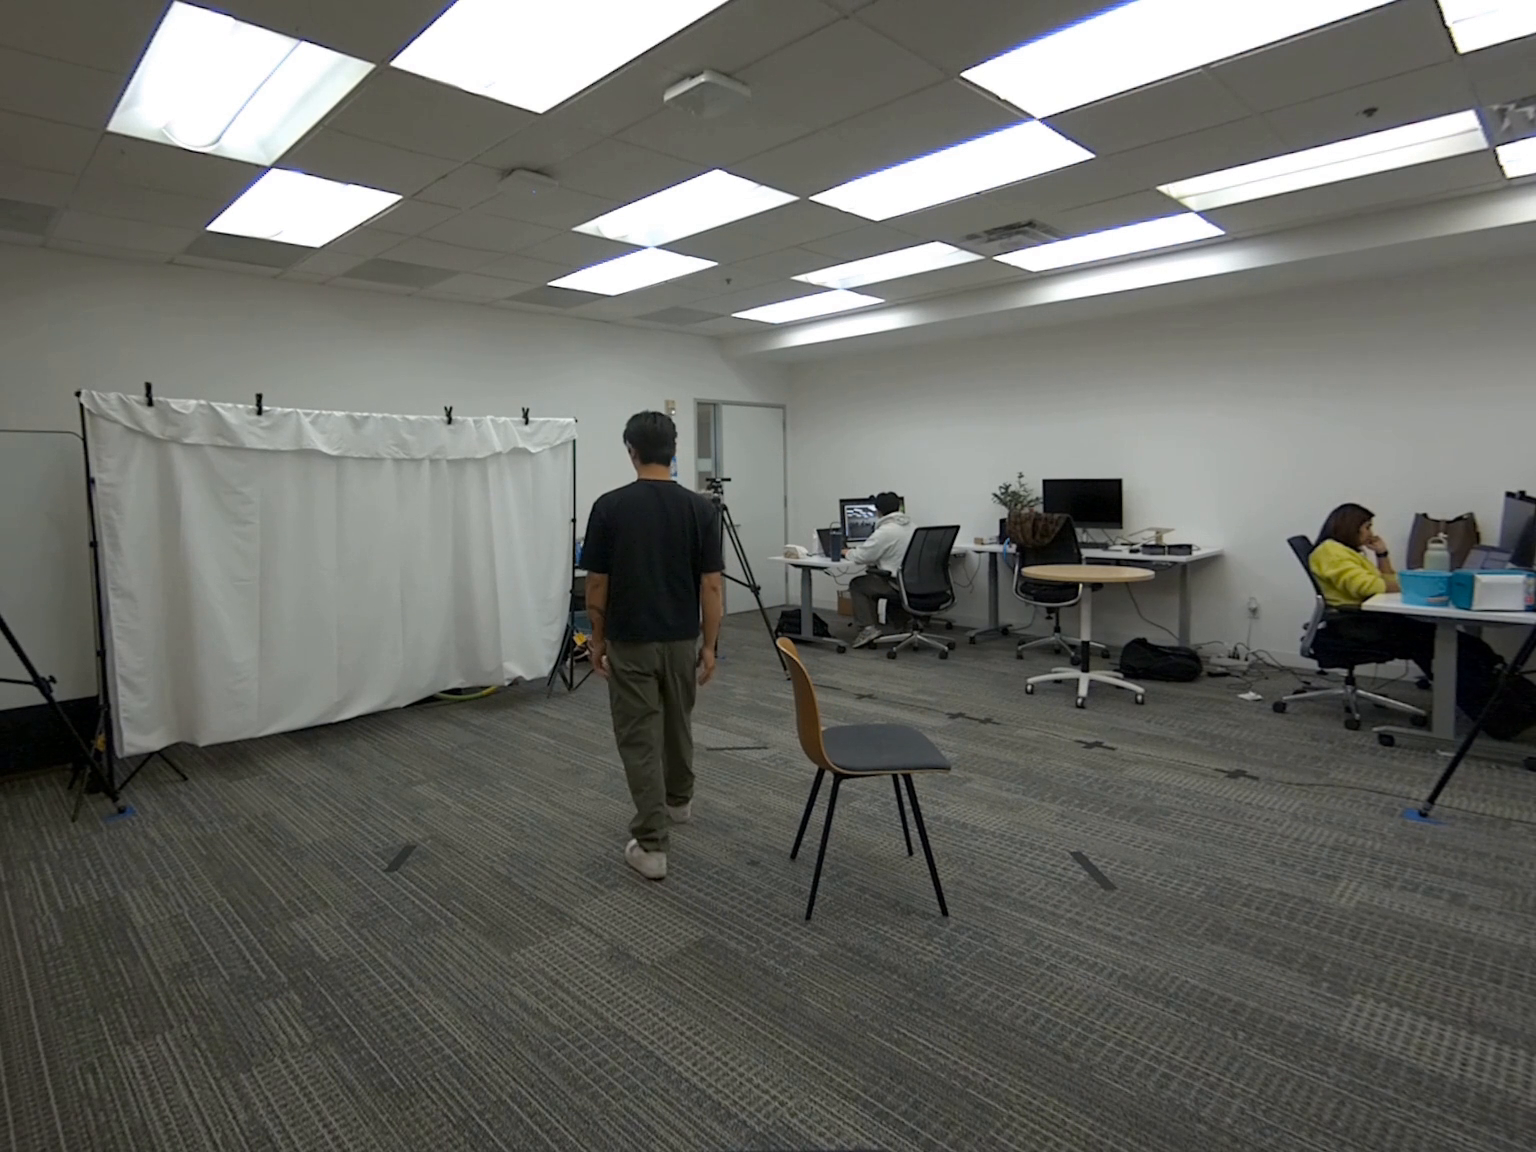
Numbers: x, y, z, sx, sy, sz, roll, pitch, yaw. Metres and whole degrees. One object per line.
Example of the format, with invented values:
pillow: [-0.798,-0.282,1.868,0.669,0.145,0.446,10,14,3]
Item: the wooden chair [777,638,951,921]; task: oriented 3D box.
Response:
wooden chair: [0.327,0.634,2.892,0.521,0.874,0.481,-5,4,-4]
